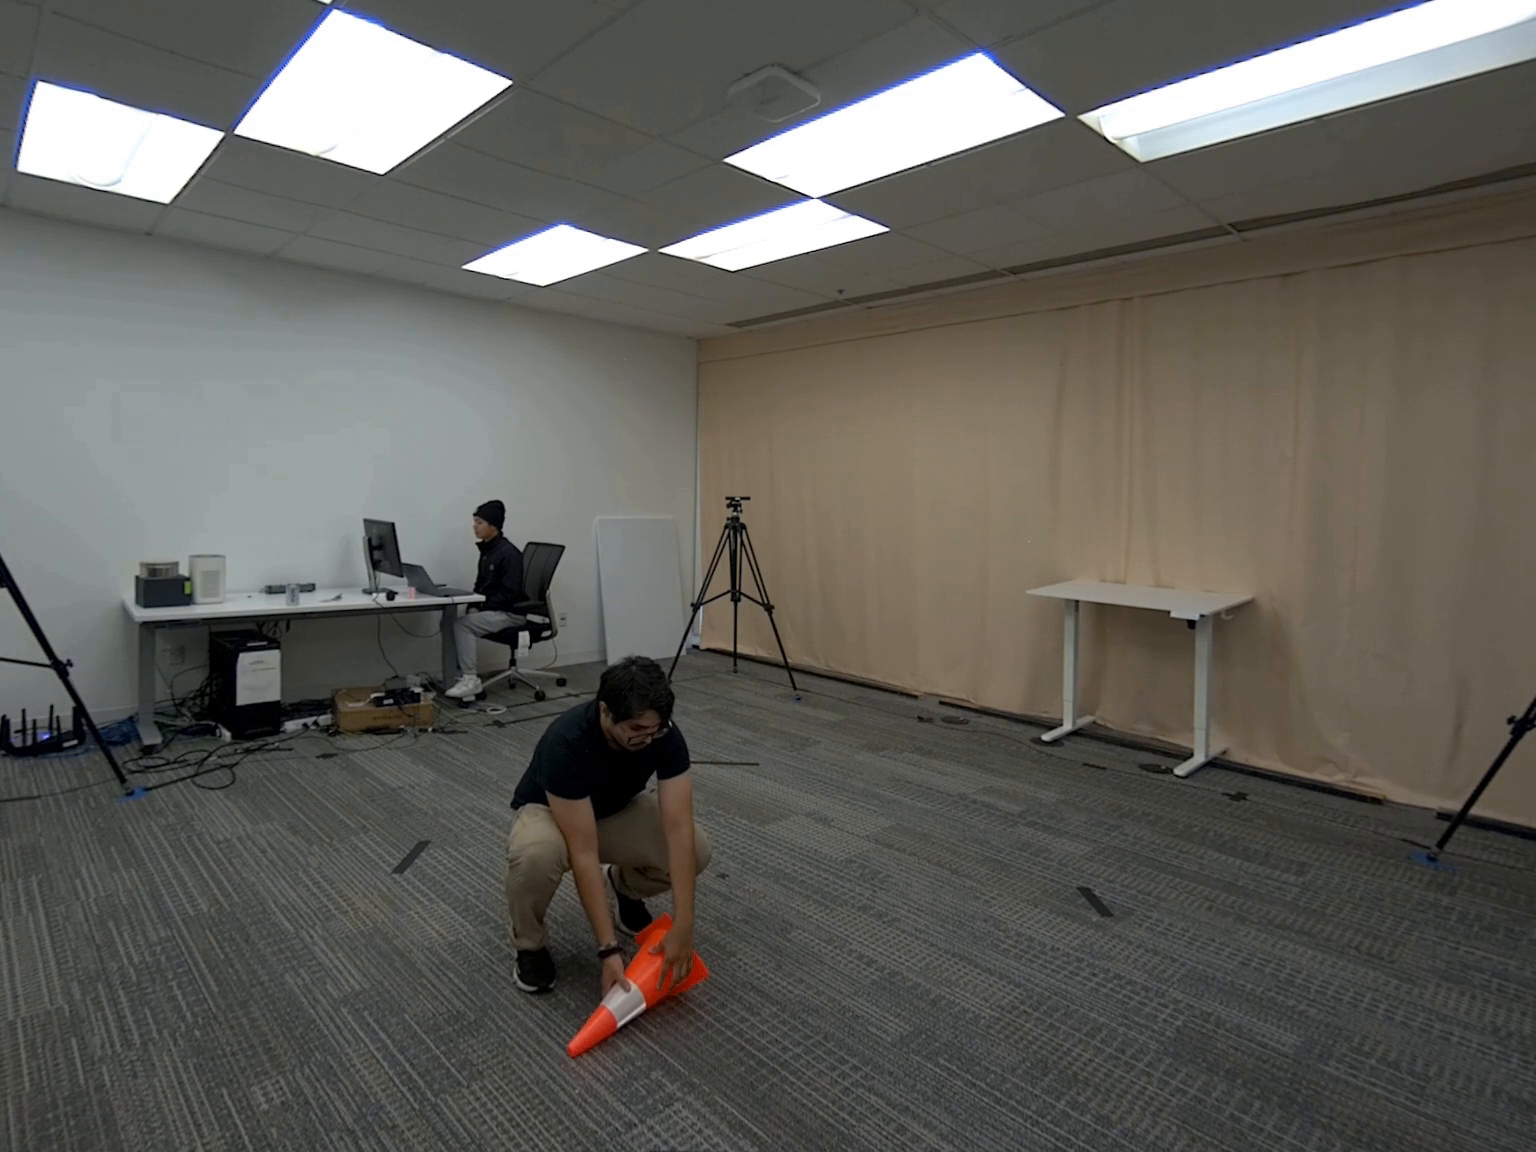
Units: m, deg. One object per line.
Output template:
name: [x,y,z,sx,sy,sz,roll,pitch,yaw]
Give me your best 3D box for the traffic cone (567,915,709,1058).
traffic cone: [-0.386,1.125,2.205,0.379,0.208,0.202,-25,-22,-48]
